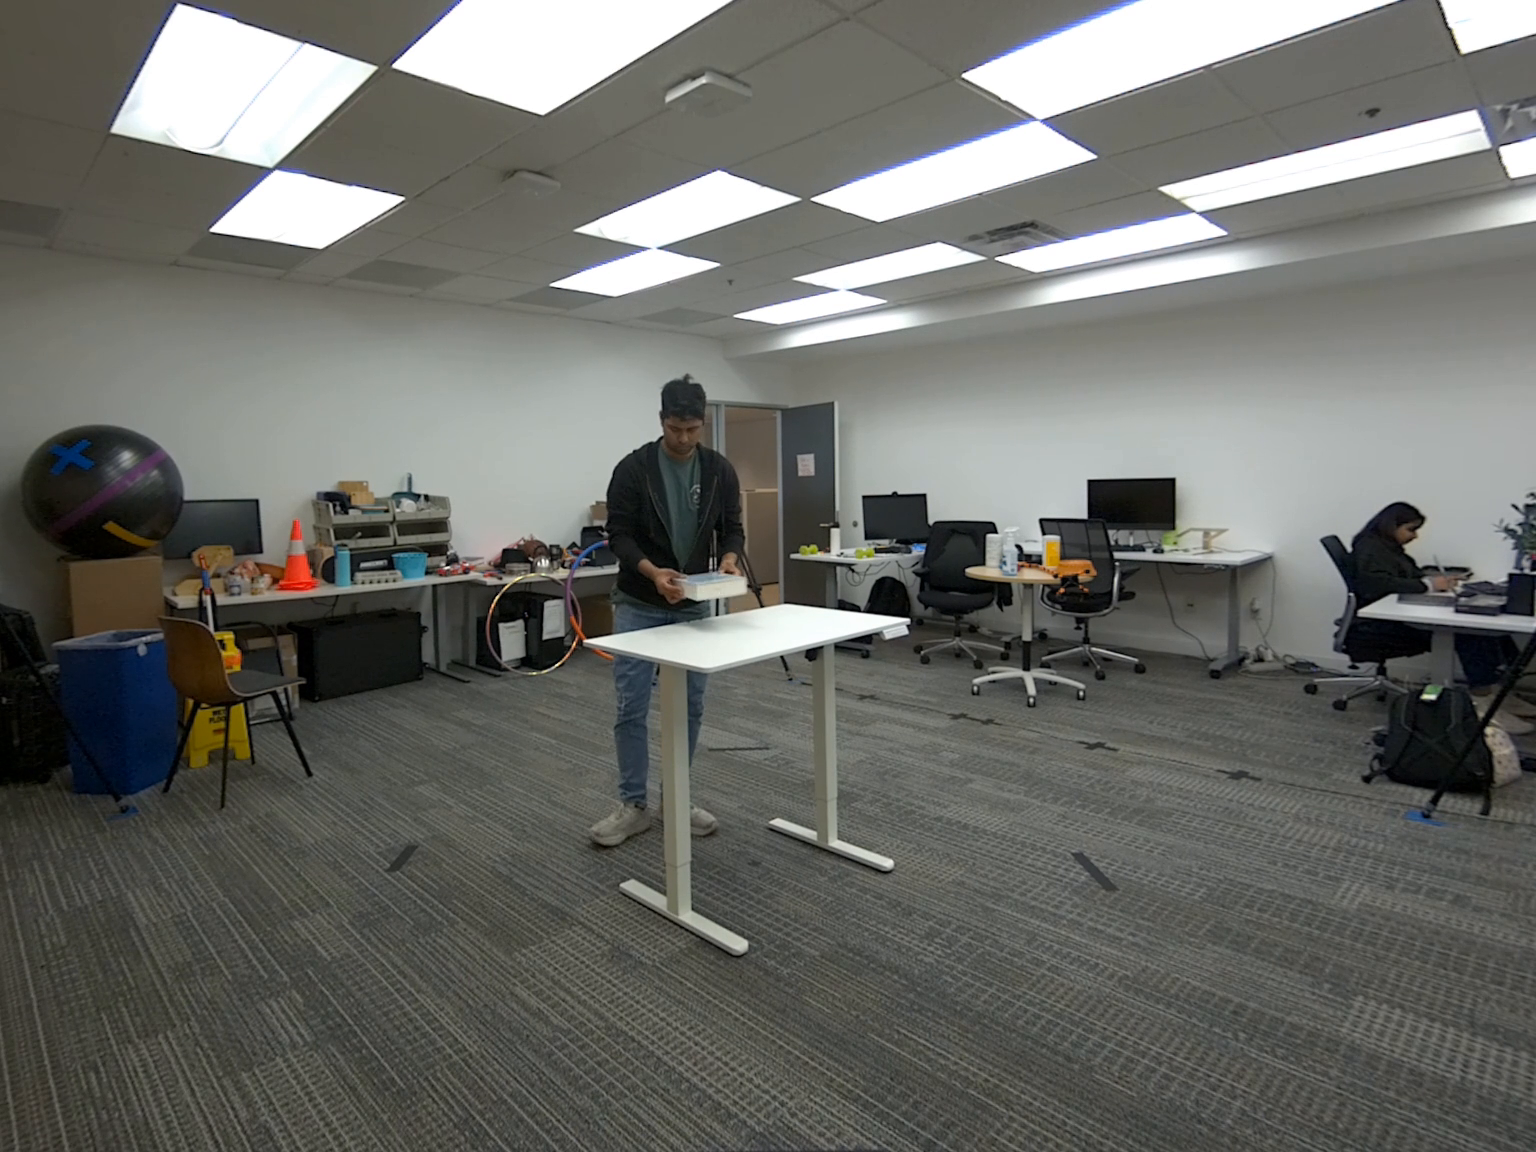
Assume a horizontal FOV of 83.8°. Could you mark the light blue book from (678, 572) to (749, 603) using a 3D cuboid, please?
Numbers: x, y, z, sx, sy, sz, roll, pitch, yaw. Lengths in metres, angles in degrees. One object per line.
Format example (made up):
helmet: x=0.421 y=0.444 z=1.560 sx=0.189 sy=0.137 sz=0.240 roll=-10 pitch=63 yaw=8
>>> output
light blue book: x=-0.217 y=0.036 z=3.008 sx=0.188 sy=0.059 sz=0.267 roll=-7 pitch=6 yaw=-22
